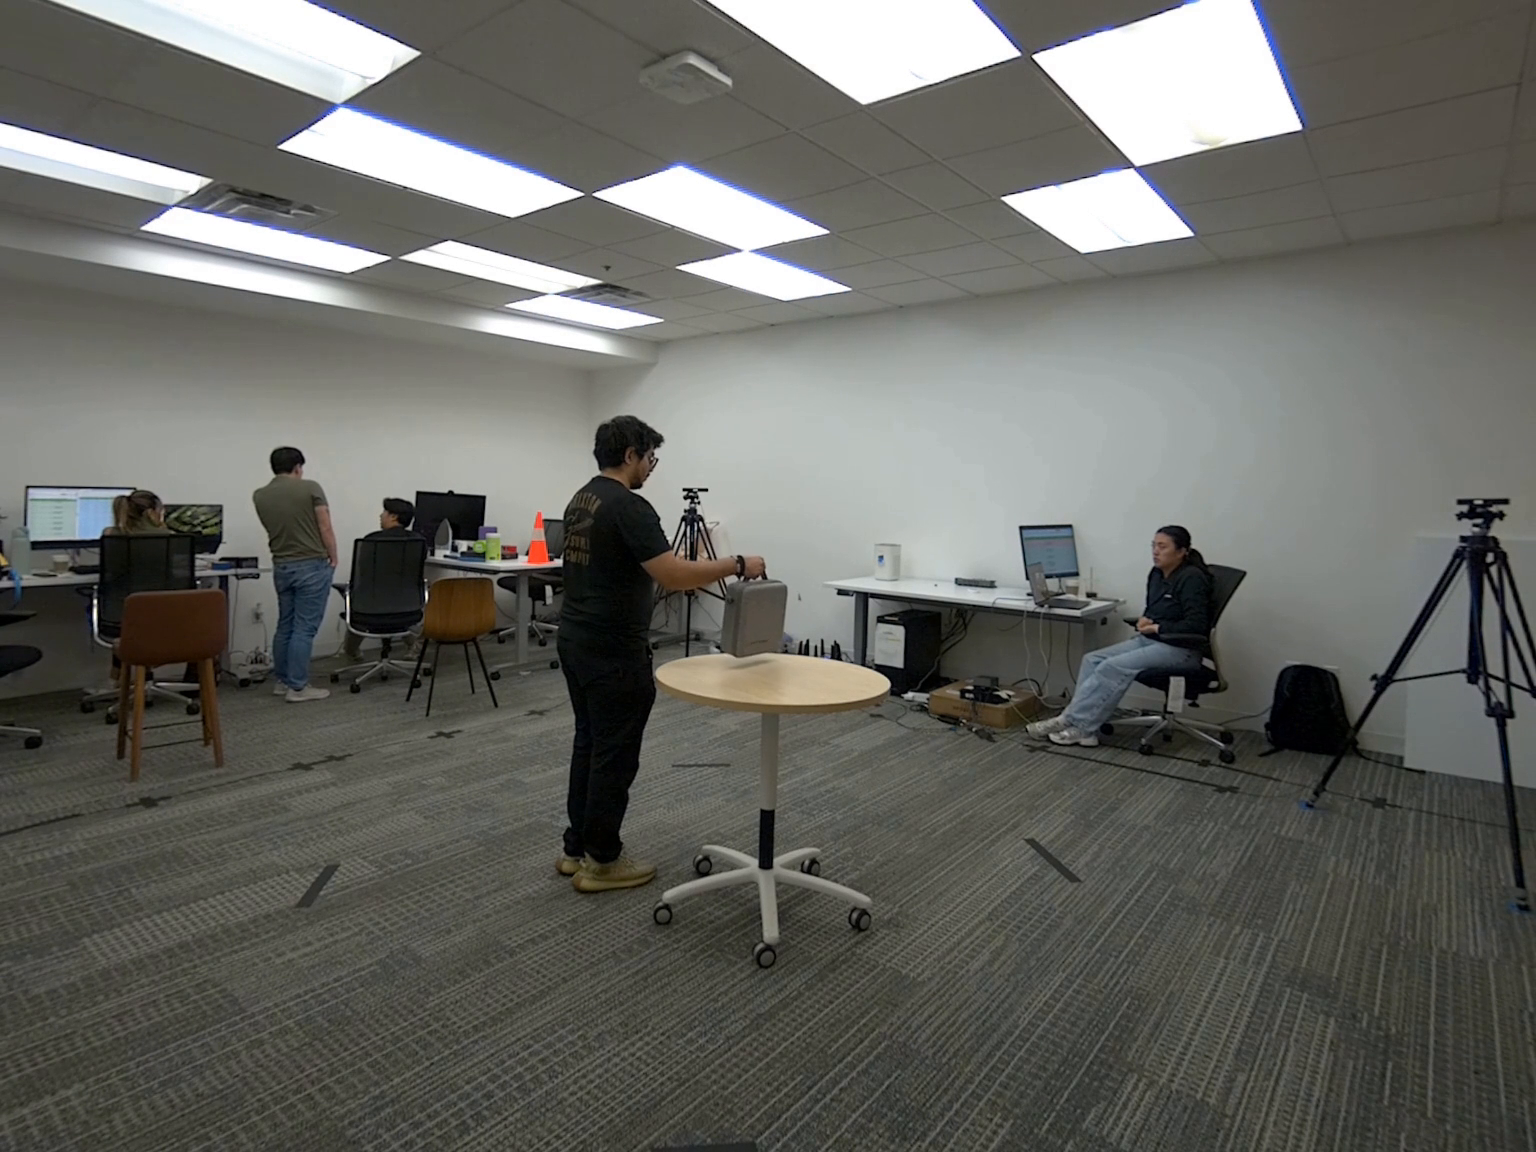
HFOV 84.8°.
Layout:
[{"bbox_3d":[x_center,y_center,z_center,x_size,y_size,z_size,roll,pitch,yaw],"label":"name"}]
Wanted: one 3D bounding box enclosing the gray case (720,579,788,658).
[{"bbox_3d":[-0.059,0.139,2.957,0.108,0.259,0.249,9,6,40],"label":"gray case"}]
